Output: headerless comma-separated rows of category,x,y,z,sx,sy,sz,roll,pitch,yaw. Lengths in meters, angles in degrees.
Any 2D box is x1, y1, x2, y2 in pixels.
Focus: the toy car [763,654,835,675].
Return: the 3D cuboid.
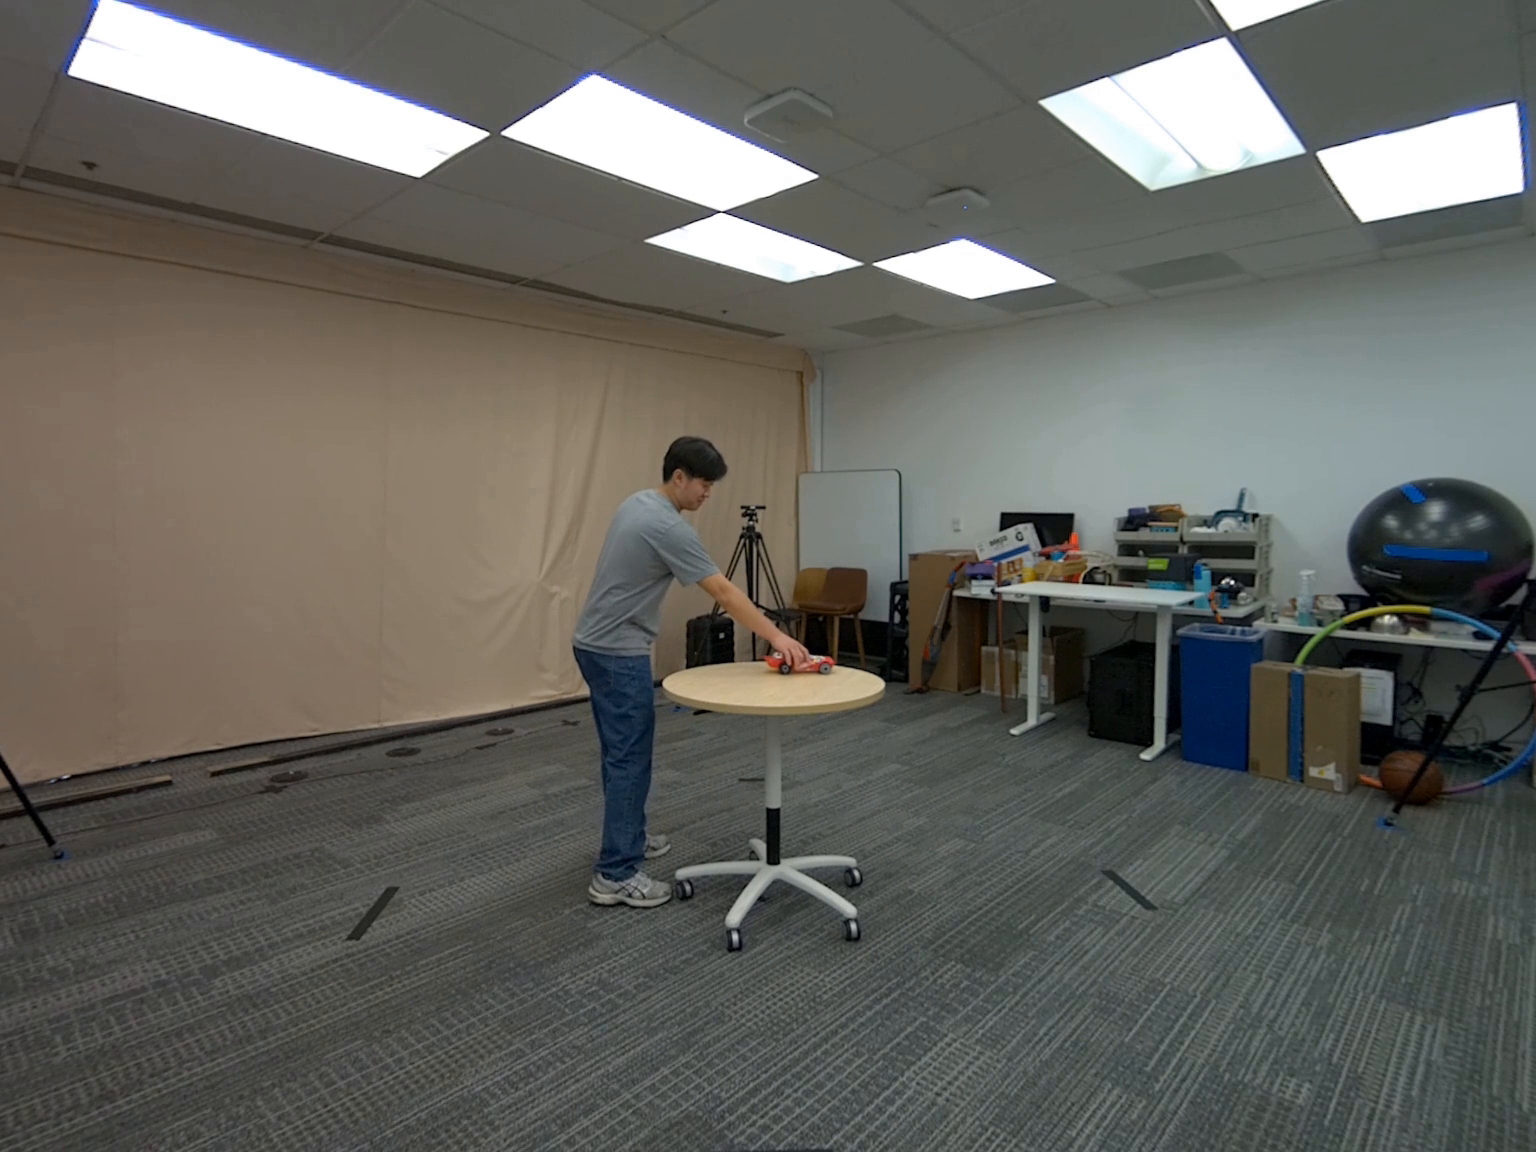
toy car,0.107,0.317,3.076,0.254,0.083,0.130,8,3,0
